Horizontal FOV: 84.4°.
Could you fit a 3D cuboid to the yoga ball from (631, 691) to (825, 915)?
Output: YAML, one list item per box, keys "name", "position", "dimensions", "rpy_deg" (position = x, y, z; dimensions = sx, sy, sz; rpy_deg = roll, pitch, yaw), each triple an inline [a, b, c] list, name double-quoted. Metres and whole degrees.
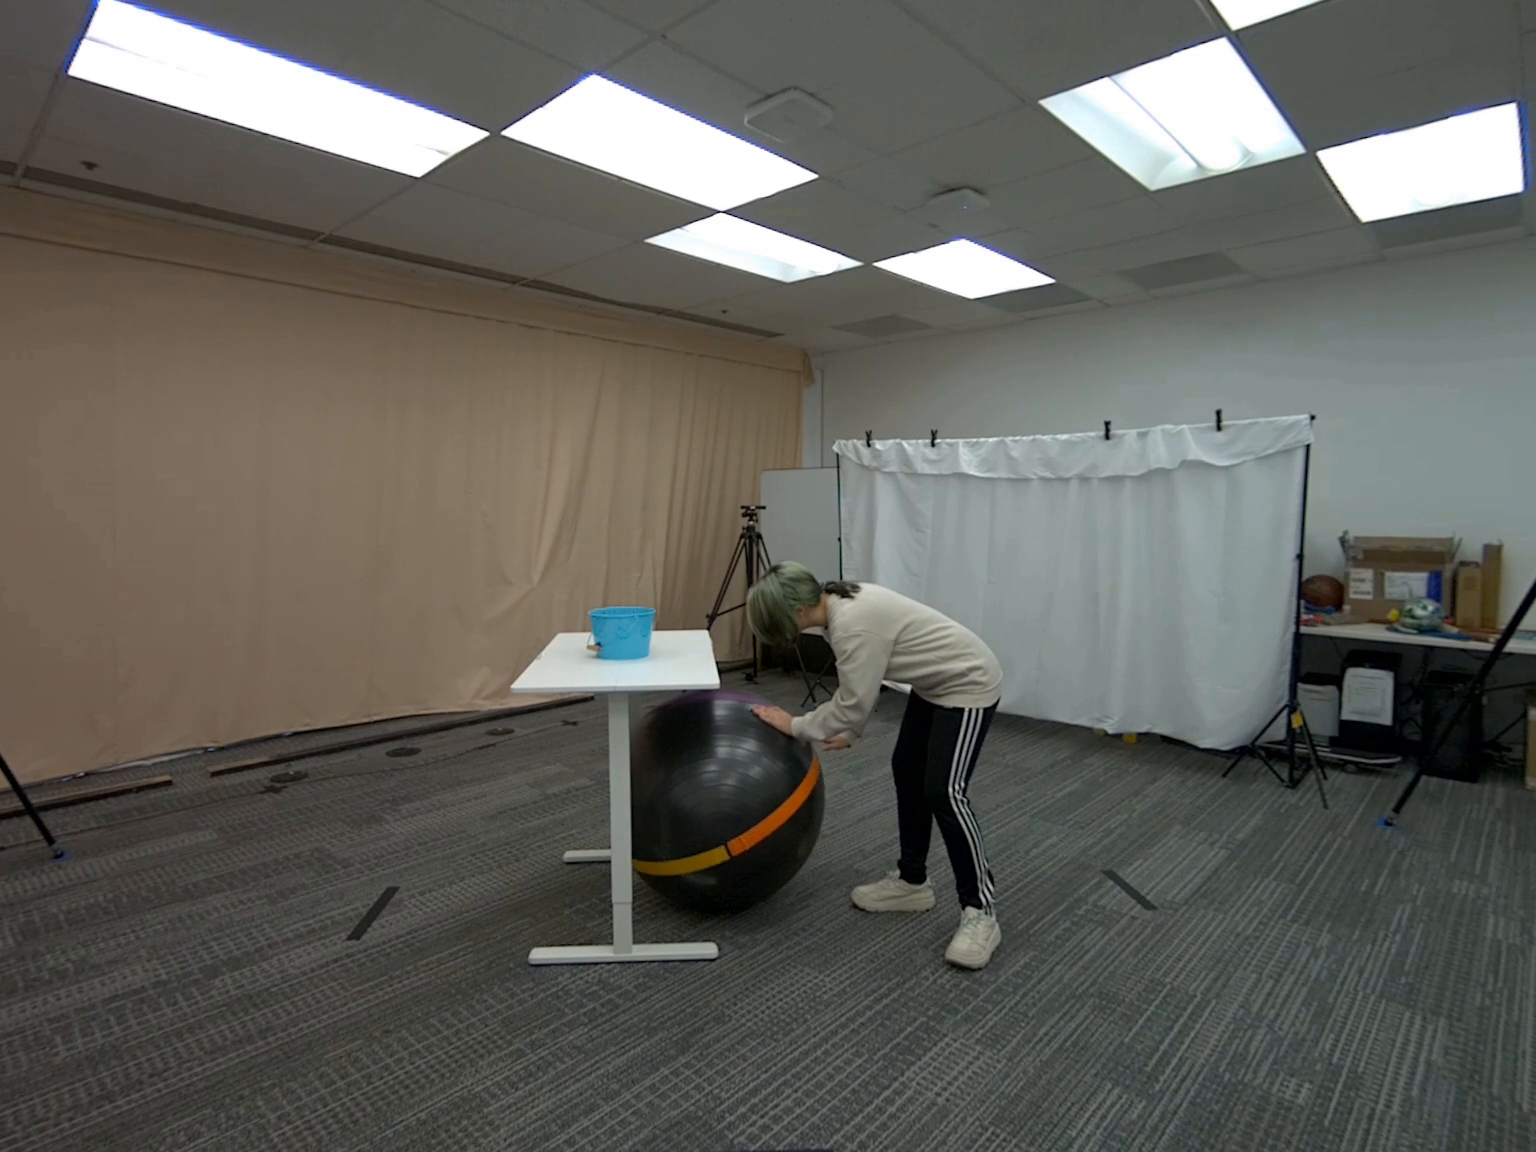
- name: "yoga ball"
  position: [-0.177, 0.777, 2.981]
  dimensions: [0.757, 0.756, 0.760]
  rpy_deg: [0, 4, -2]
